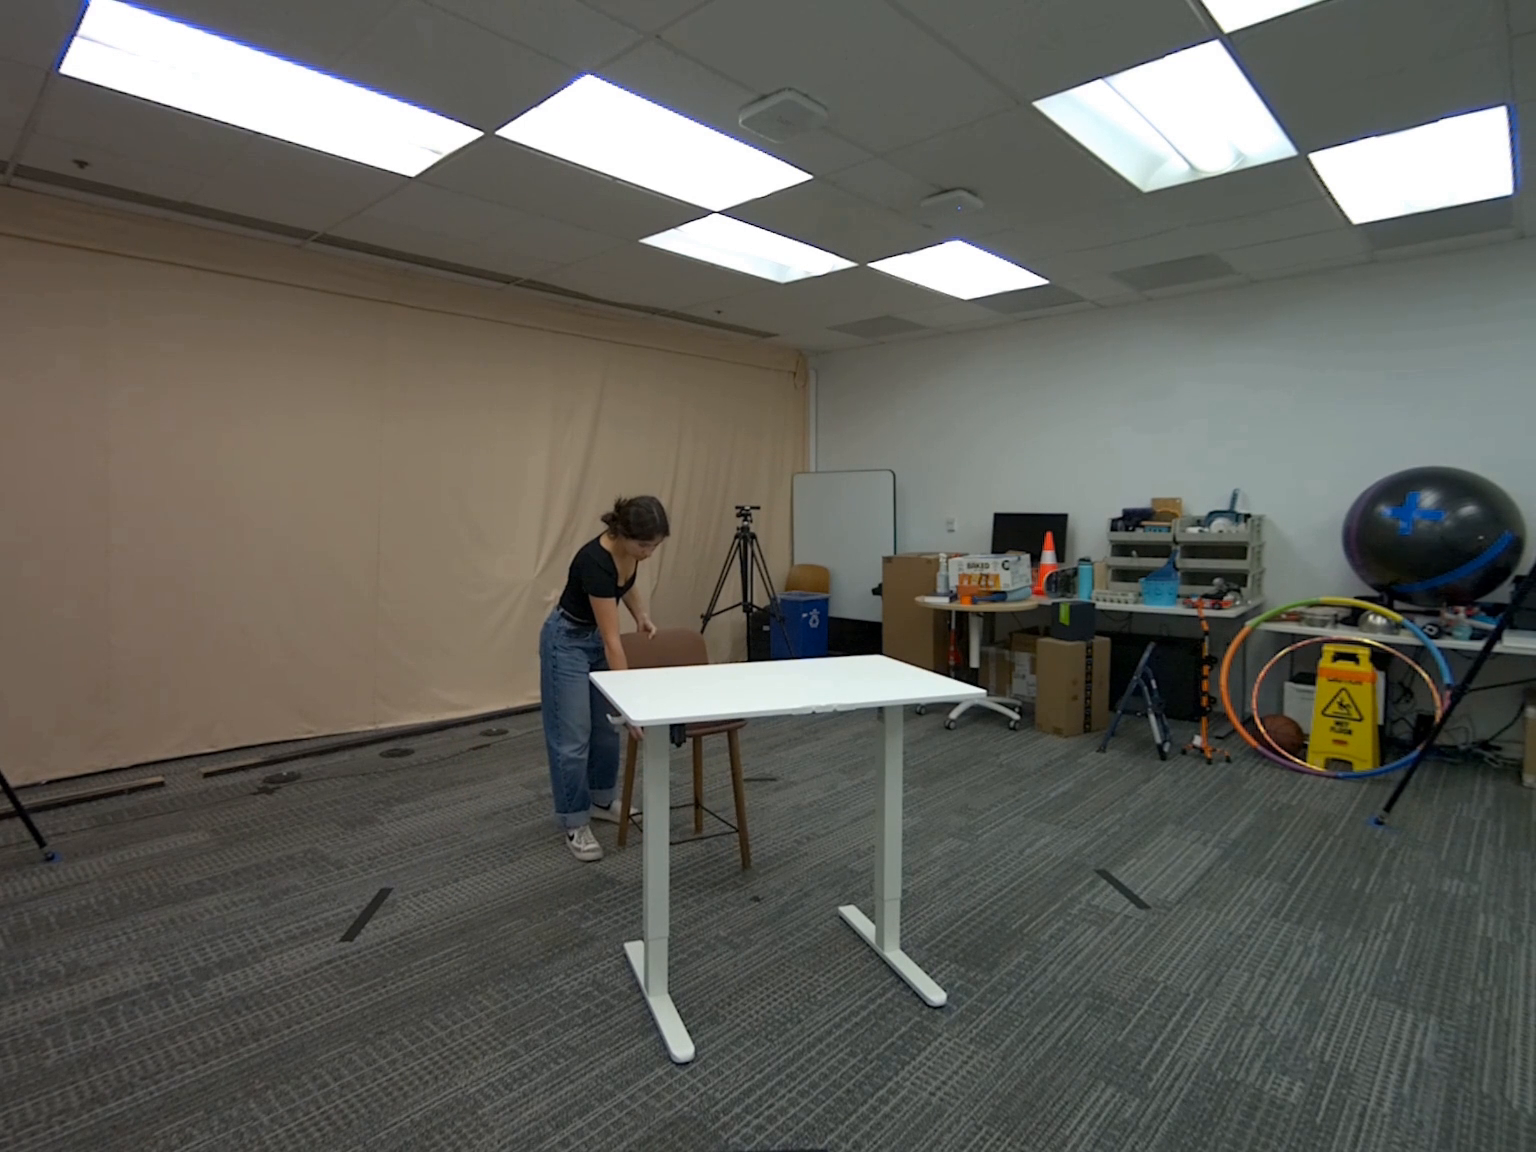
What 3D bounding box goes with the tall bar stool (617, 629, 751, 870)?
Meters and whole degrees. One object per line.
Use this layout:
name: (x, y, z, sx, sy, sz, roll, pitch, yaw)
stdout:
tall bar stool: (-0.354, 0.681, 3.318, 0.445, 0.889, 0.479, -2, 1, -26)
